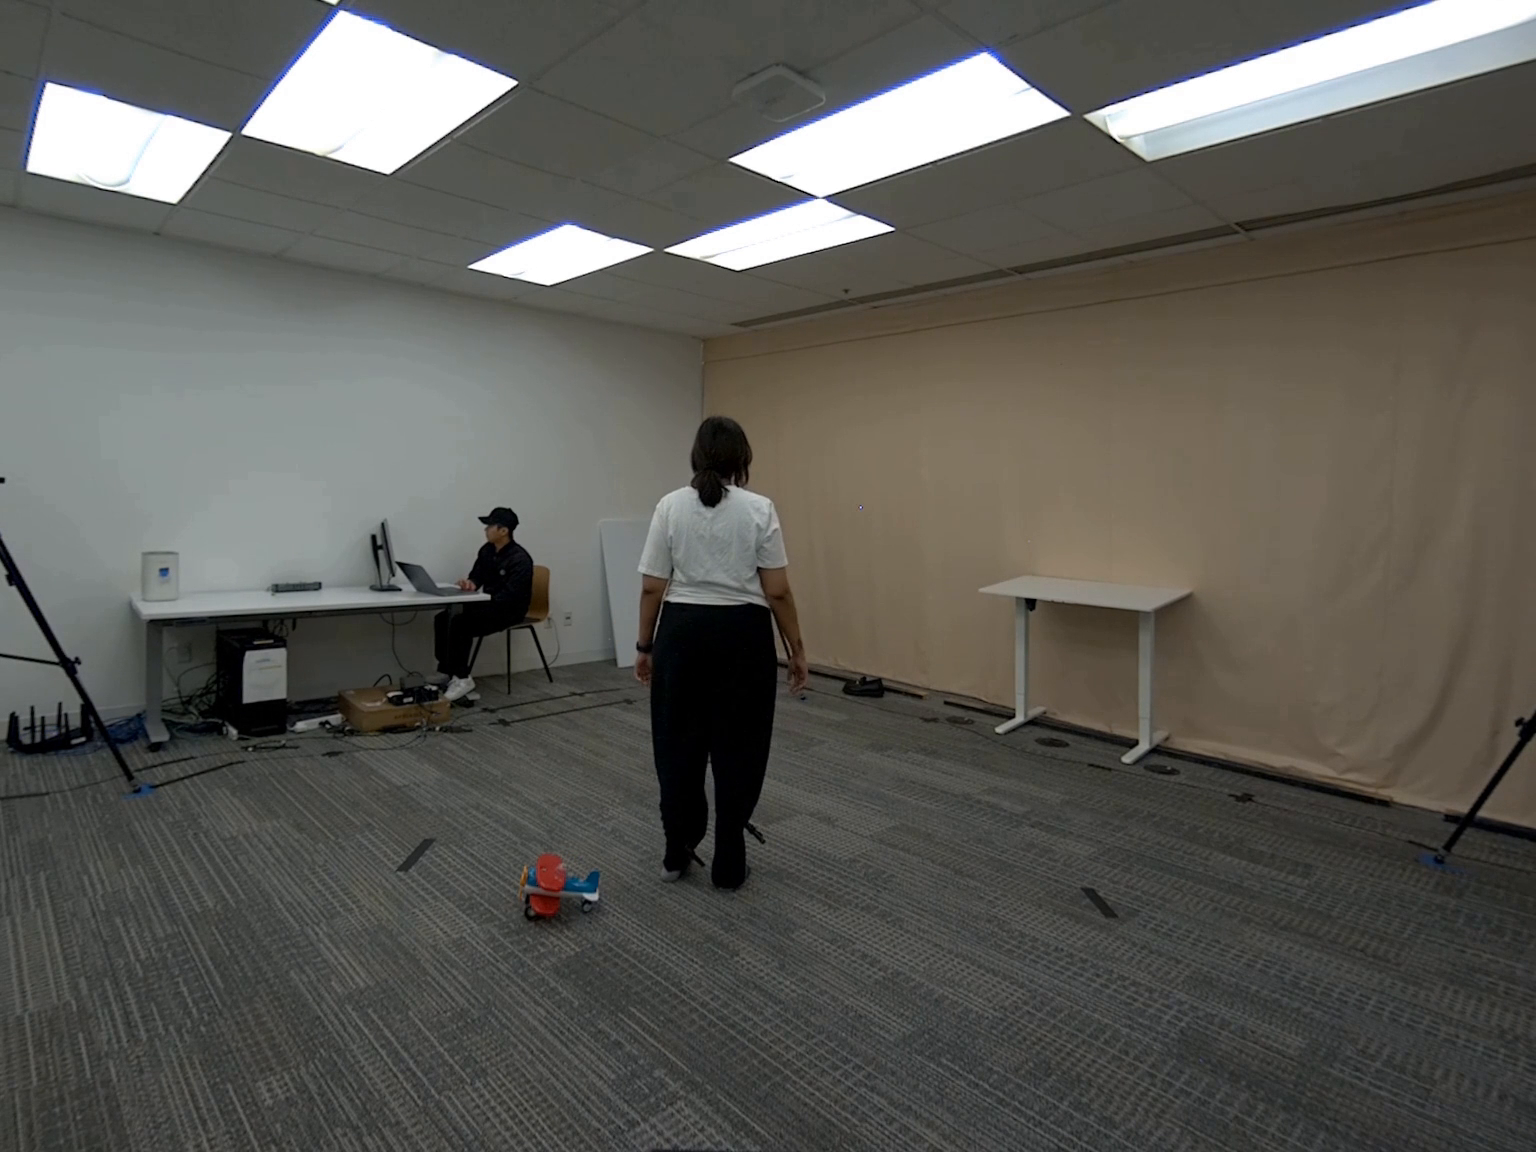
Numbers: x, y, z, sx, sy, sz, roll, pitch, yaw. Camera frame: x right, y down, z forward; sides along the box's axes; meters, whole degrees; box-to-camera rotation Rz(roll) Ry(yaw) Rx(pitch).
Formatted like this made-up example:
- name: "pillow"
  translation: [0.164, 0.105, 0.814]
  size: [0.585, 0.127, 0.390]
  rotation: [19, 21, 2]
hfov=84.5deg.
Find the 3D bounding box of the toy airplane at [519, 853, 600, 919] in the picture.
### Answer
- name: "toy airplane"
  translation: [-0.716, 1.046, 2.818]
  size: [0.253, 0.156, 0.257]
  rotation: [-3, 6, -41]
